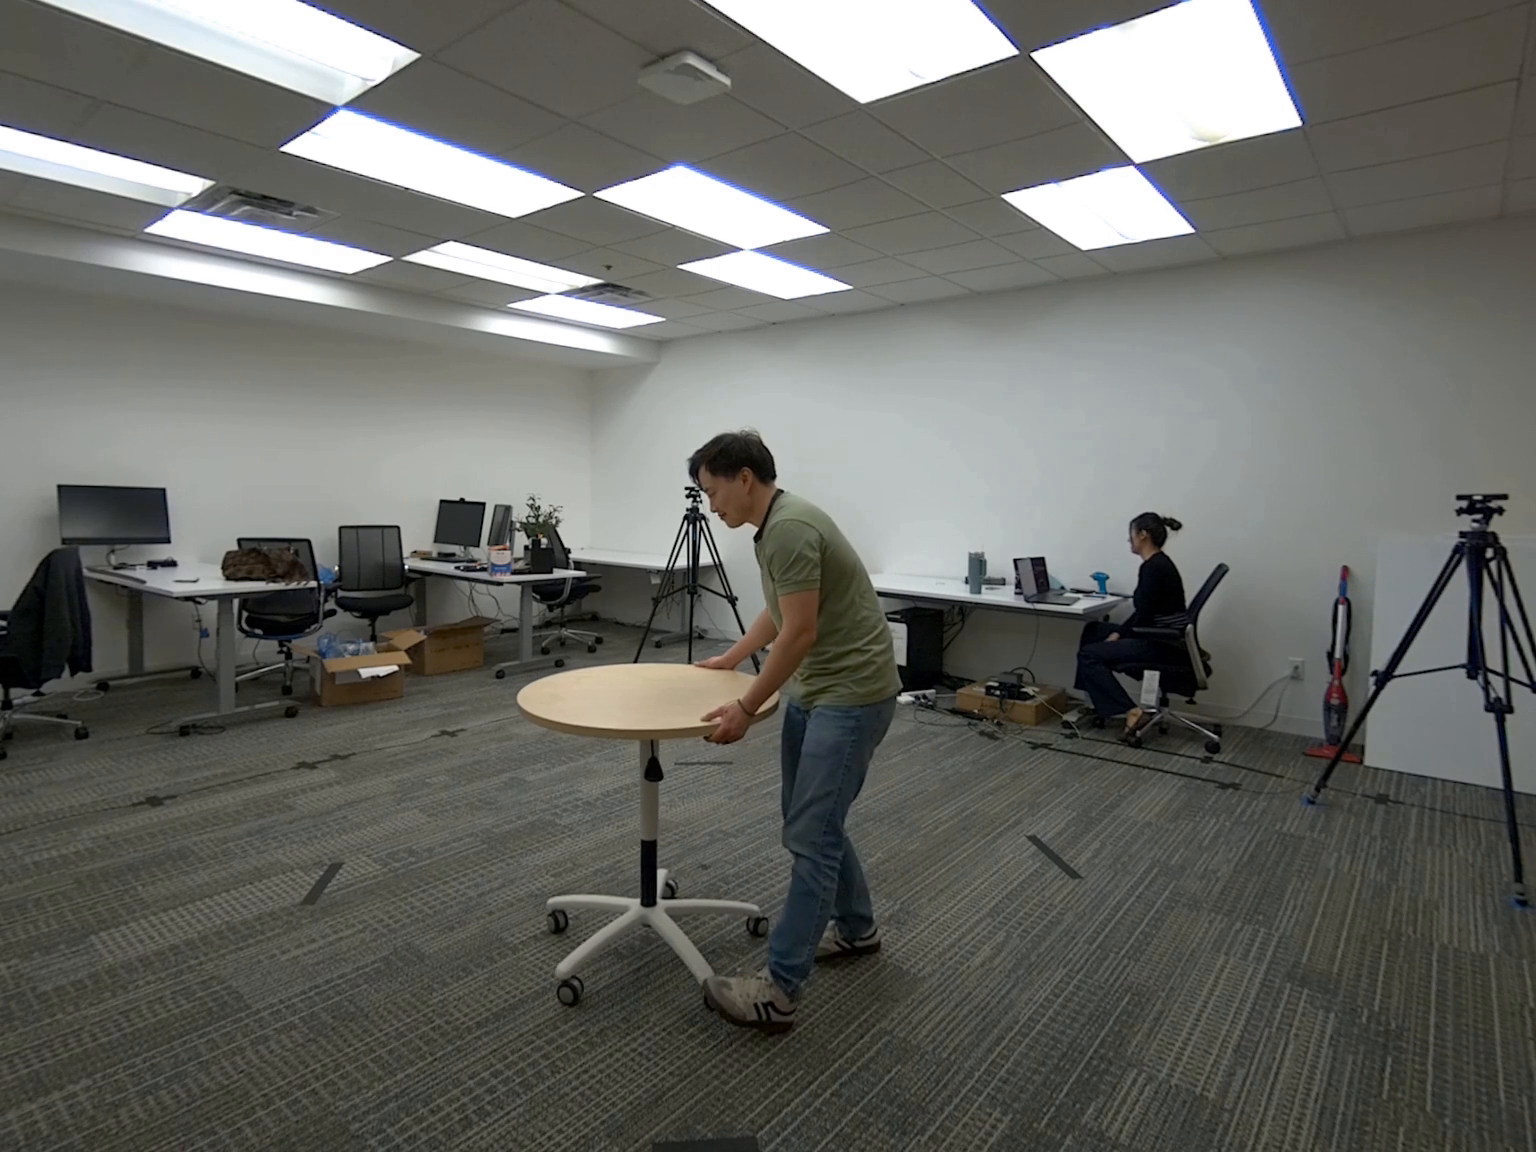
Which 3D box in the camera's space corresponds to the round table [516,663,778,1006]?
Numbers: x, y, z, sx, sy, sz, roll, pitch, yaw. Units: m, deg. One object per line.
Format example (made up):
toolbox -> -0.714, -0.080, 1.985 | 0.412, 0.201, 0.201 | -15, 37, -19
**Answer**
round table -> -0.360, 0.732, 2.538 | 0.763, 0.791, 0.768 | 0, 5, -2
